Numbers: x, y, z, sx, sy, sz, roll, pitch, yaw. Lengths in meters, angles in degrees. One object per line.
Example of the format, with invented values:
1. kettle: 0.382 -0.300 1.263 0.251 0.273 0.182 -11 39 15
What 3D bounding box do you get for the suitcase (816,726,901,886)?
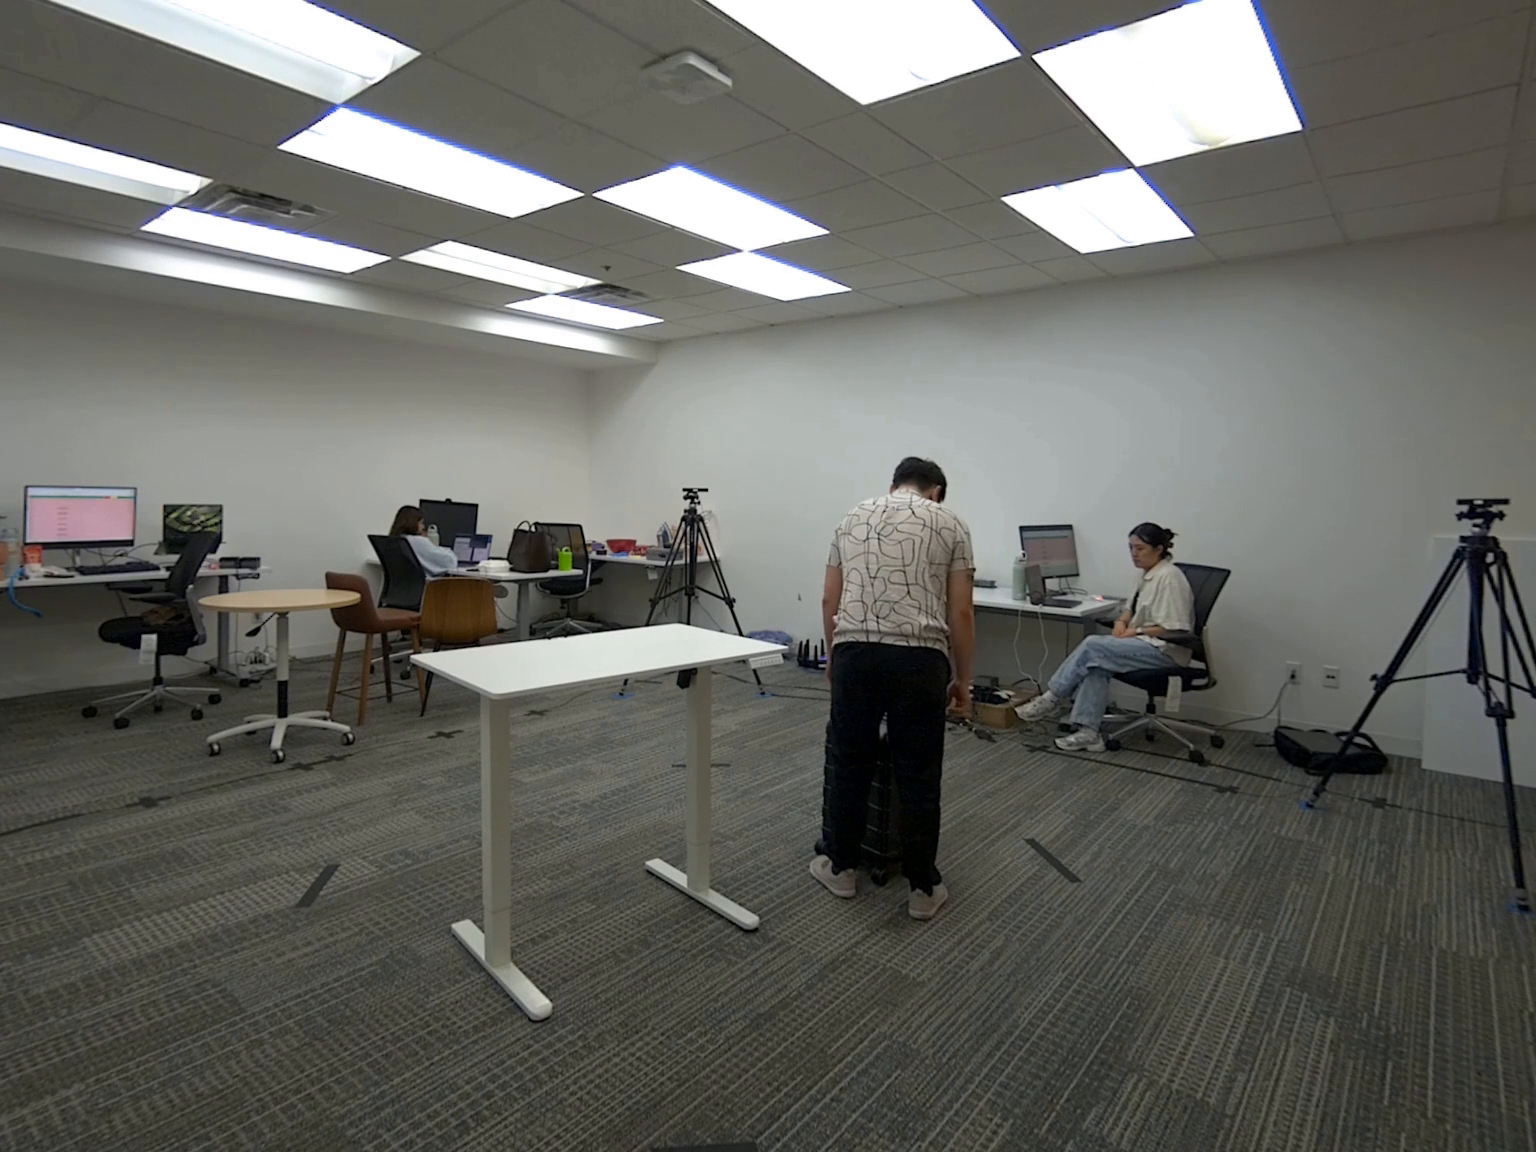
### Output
1. suitcase: 0.394 0.791 3.205 0.241 0.548 0.388 -1 4 -39
